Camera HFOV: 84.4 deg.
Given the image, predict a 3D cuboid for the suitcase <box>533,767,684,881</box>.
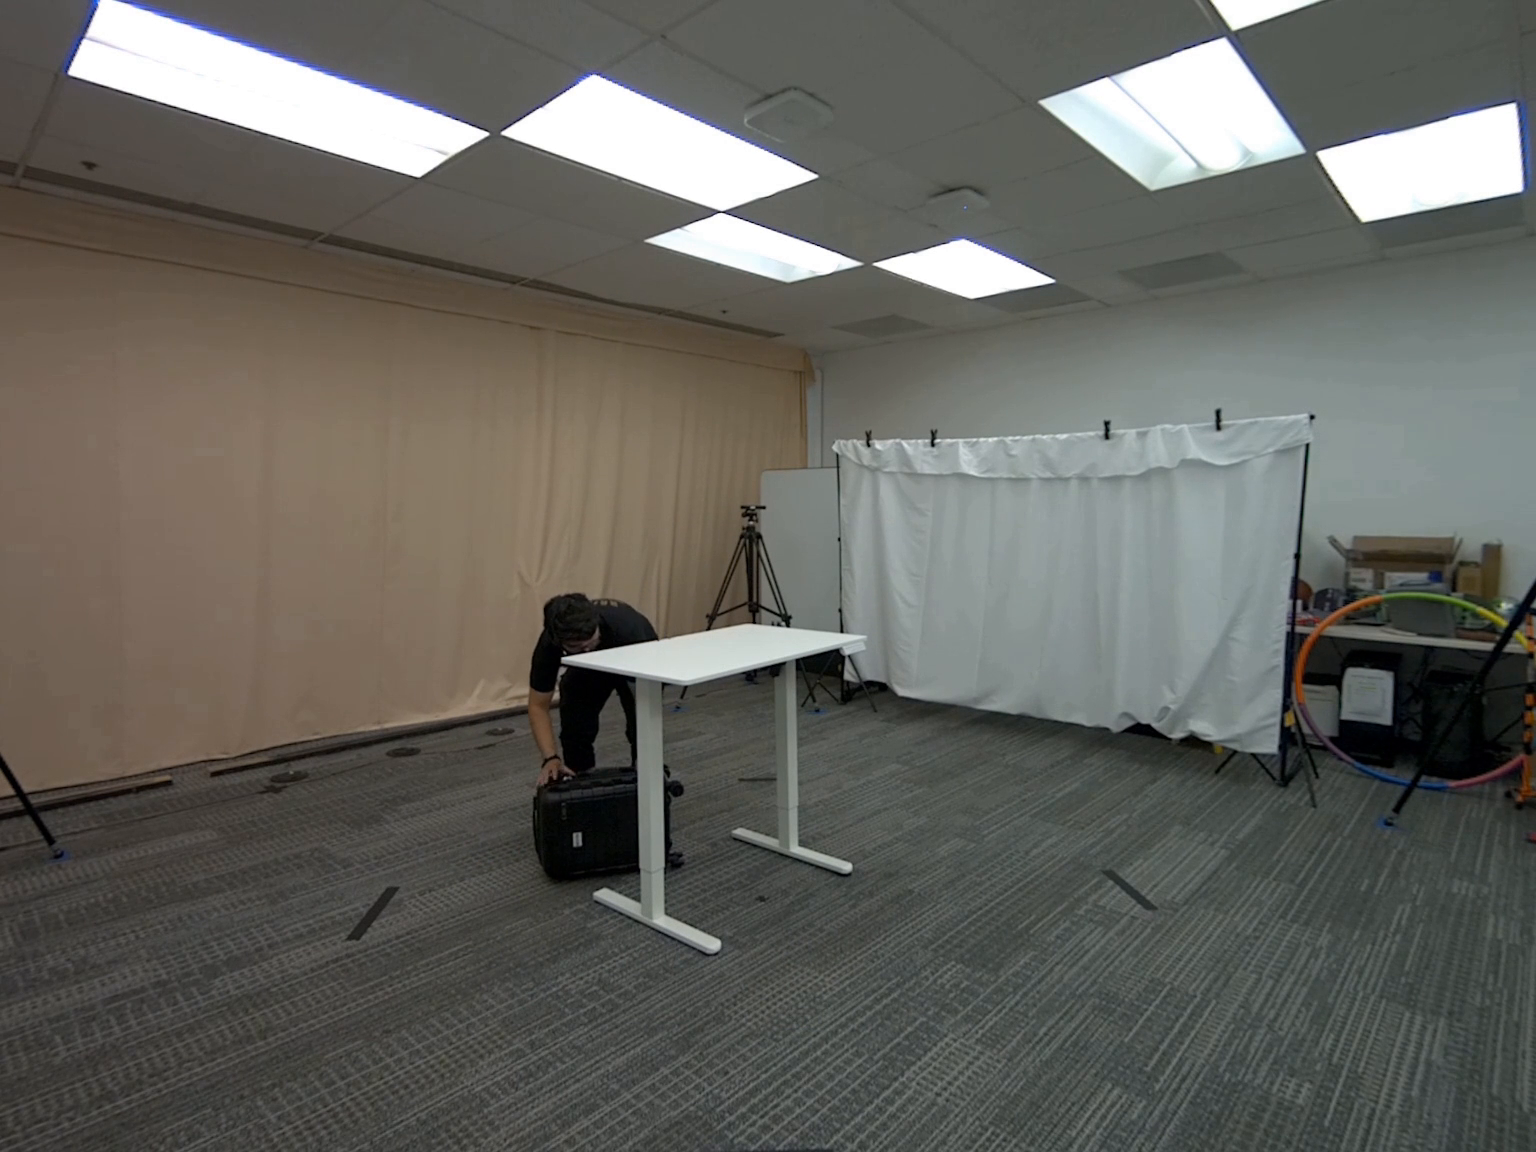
[{"bbox_3d":[-0.617,0.936,3.242,0.539,0.374,0.254,-1,6,-19],"label":"suitcase"}]
